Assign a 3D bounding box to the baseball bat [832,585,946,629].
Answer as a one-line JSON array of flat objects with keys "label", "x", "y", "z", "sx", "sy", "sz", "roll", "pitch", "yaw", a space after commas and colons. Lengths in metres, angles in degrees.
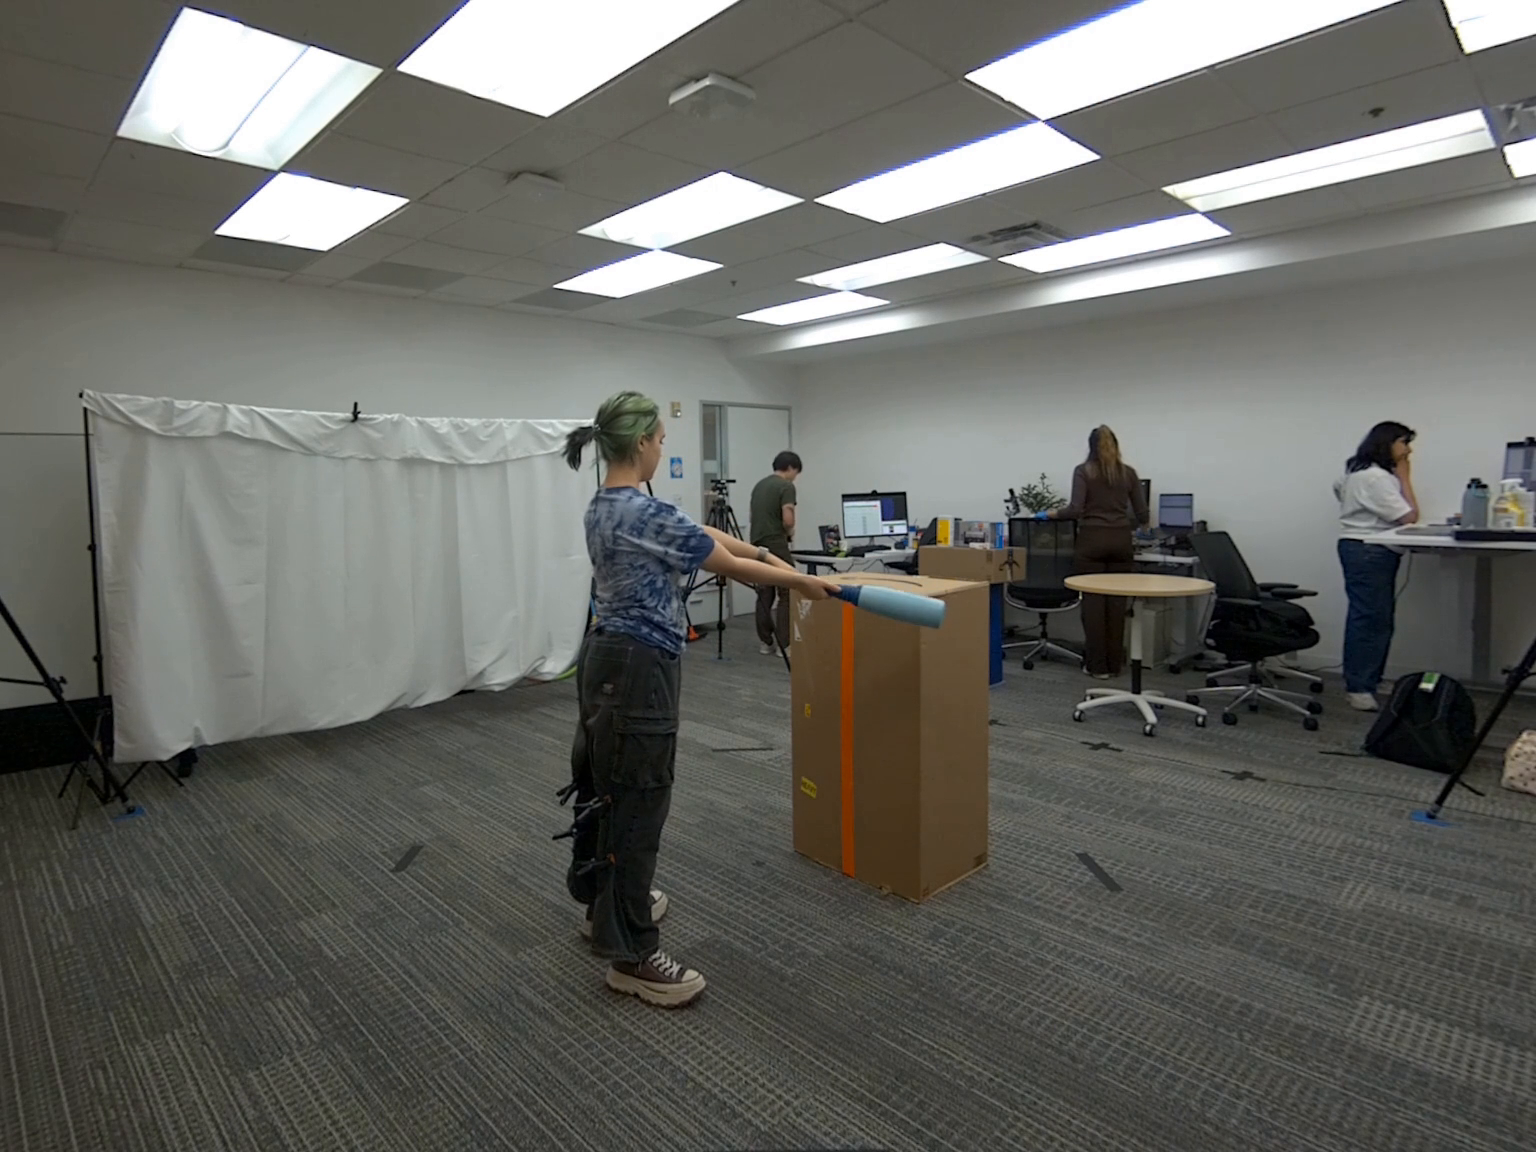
[{"label": "baseball bat", "x": 0.267, "y": 0.059, "z": 2.579, "sx": 0.552, "sy": 0.088, "sz": 0.088, "roll": 11, "pitch": 7, "yaw": 15}]
